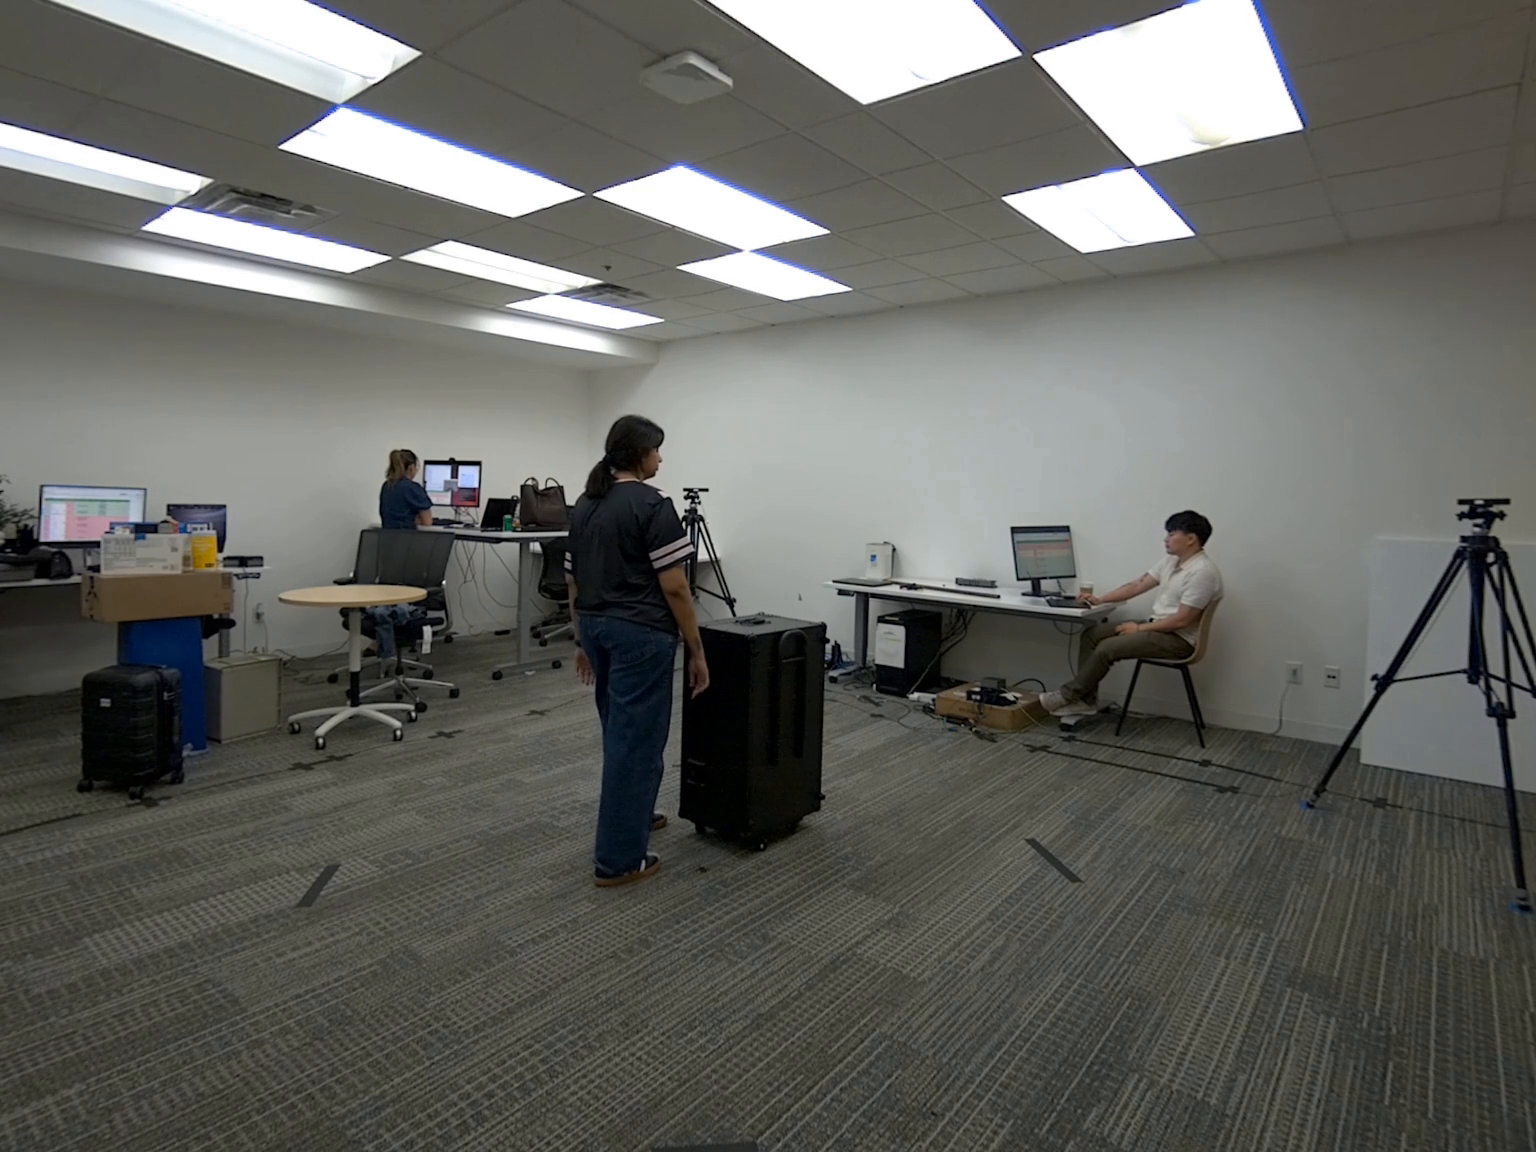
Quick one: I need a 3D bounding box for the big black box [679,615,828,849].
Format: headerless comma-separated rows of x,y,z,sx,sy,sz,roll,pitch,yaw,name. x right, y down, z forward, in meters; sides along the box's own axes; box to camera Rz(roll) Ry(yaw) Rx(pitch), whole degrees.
-0.057,0.618,3.466,0.398,0.865,0.508,5,6,39,big black box
